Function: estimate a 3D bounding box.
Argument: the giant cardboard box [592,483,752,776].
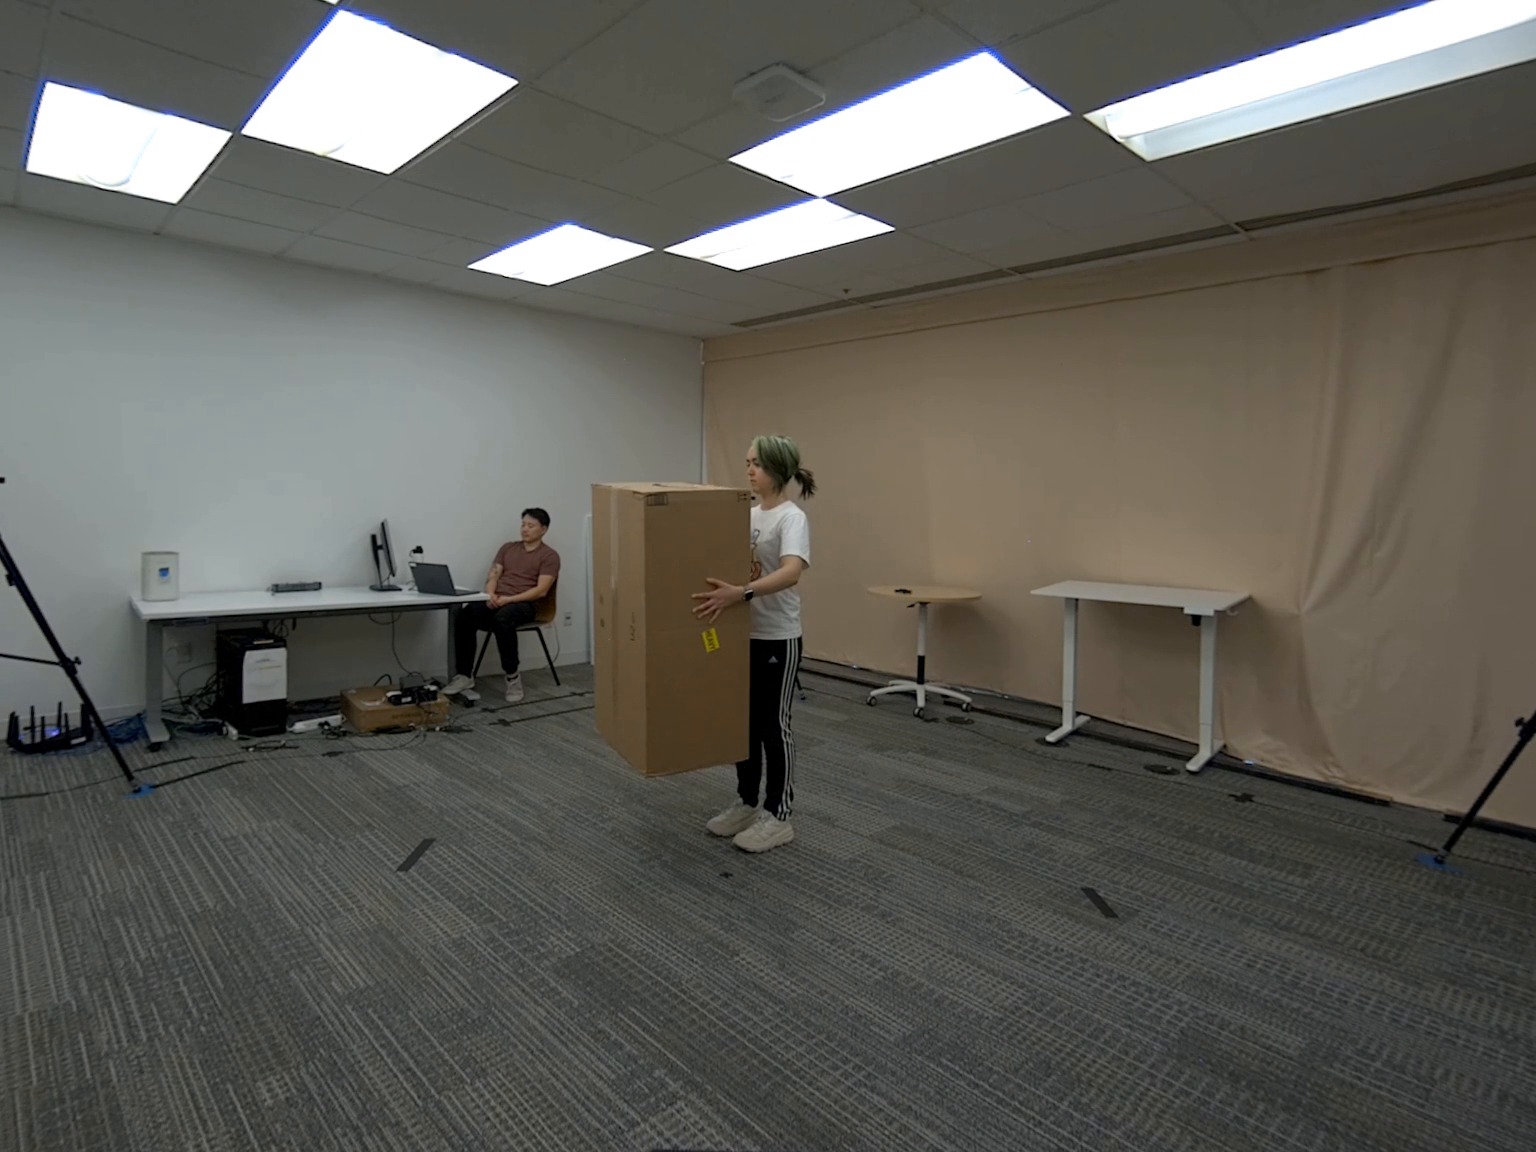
[{"bbox_3d":[-0.391,0.166,3.269,0.418,1.020,0.591,-3,8,-29],"label":"giant cardboard box"}]
